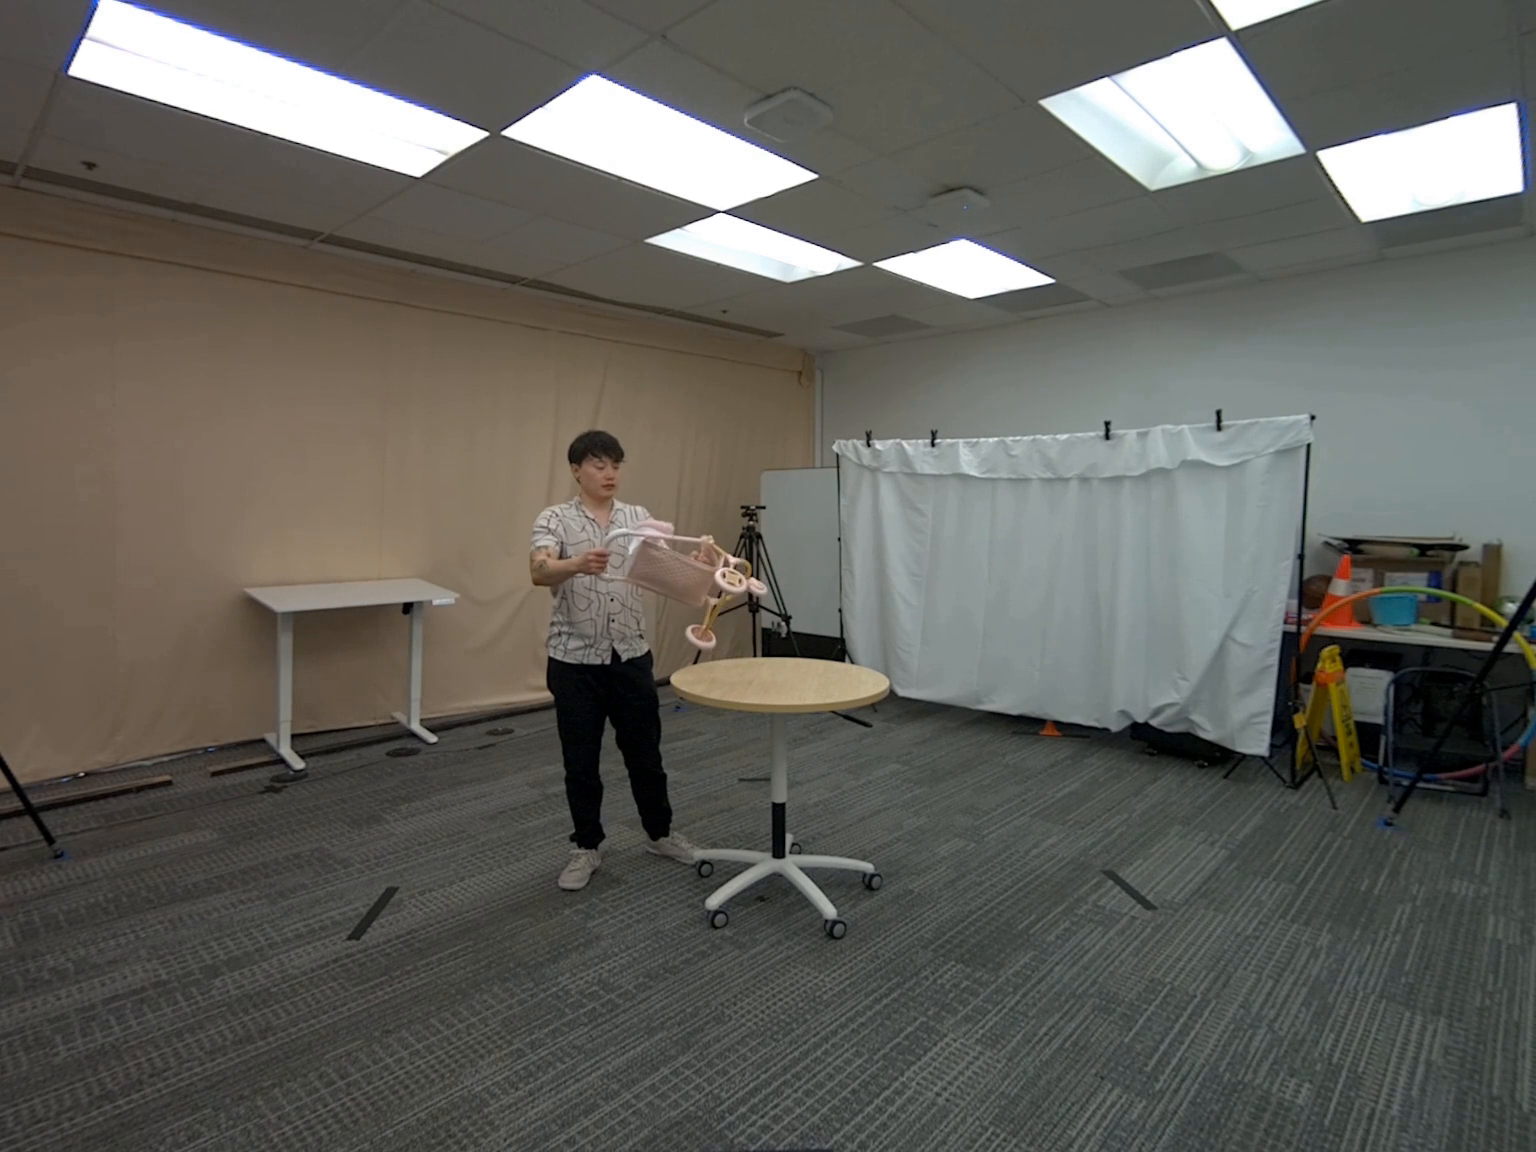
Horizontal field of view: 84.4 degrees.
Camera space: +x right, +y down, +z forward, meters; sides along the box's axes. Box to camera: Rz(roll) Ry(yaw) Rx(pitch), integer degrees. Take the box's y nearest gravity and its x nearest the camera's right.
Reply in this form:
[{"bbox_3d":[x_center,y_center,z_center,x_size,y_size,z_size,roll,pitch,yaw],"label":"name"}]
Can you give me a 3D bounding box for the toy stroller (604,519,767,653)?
[{"bbox_3d":[-0.270,-0.015,2.831,0.537,0.281,0.340,30,34,2],"label":"toy stroller"}]
